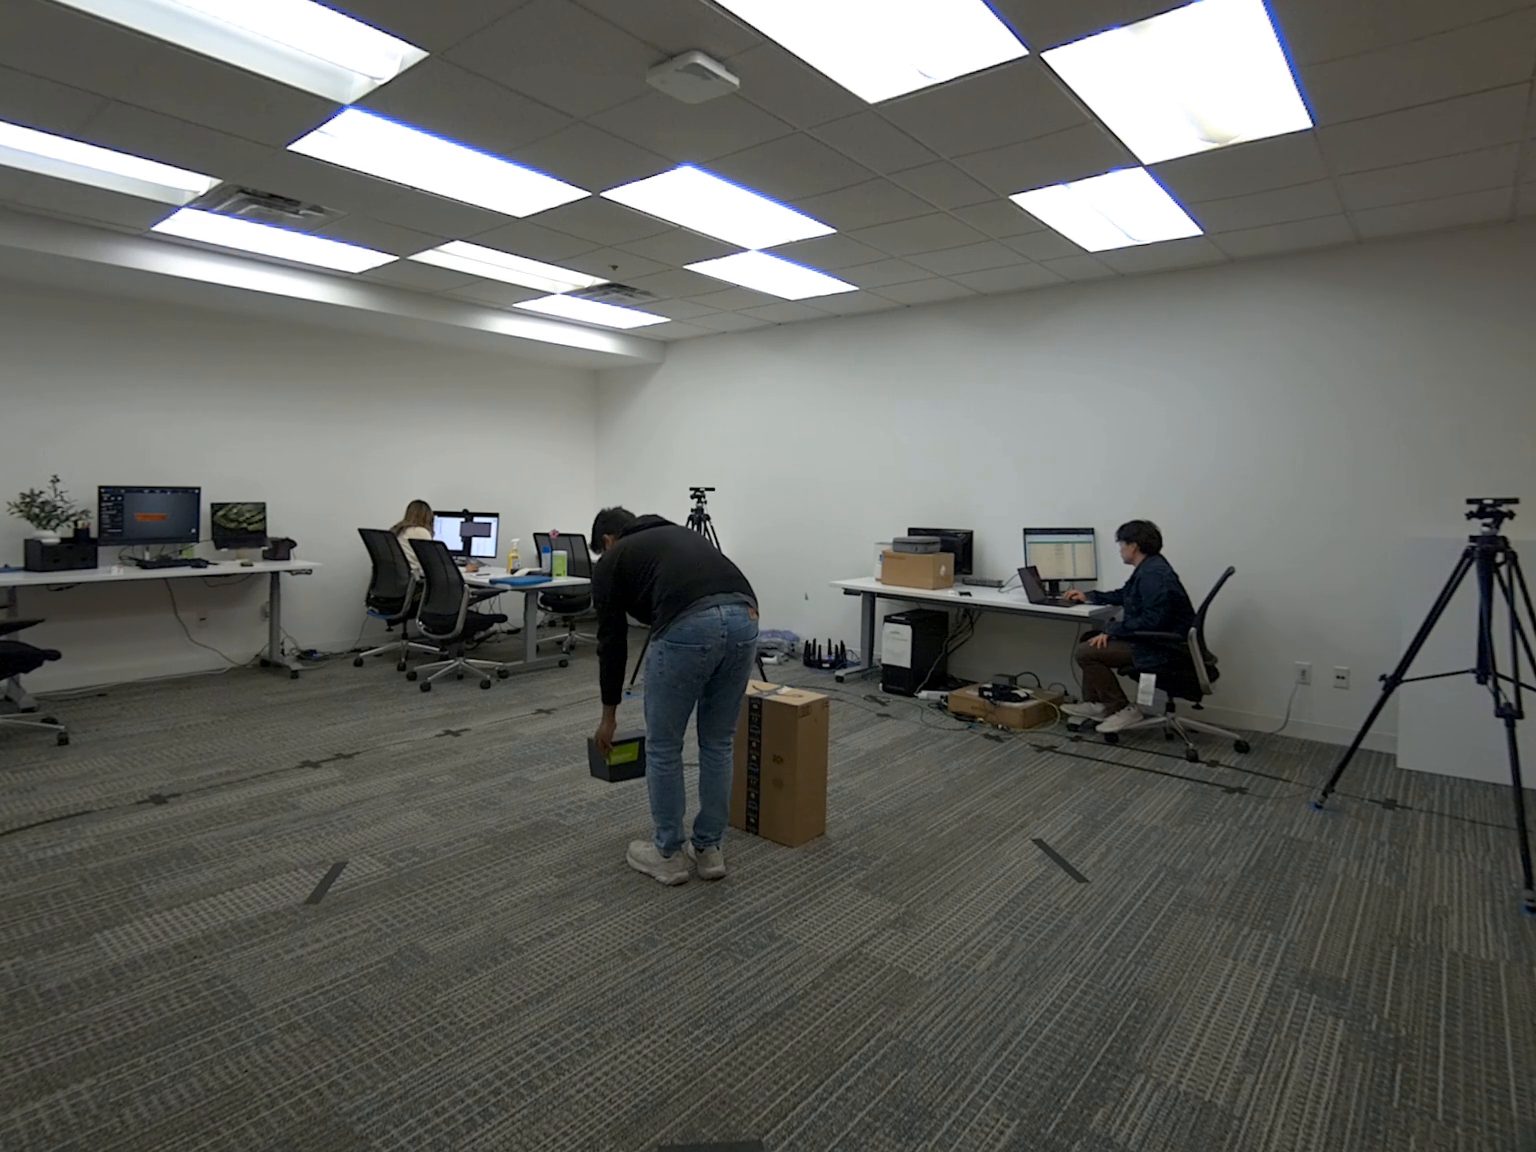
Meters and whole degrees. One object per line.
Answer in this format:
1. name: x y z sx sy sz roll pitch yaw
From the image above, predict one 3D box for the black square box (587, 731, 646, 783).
1. black square box: -0.583 0.700 3.391 0.222 0.156 0.222 -3 -2 -33
